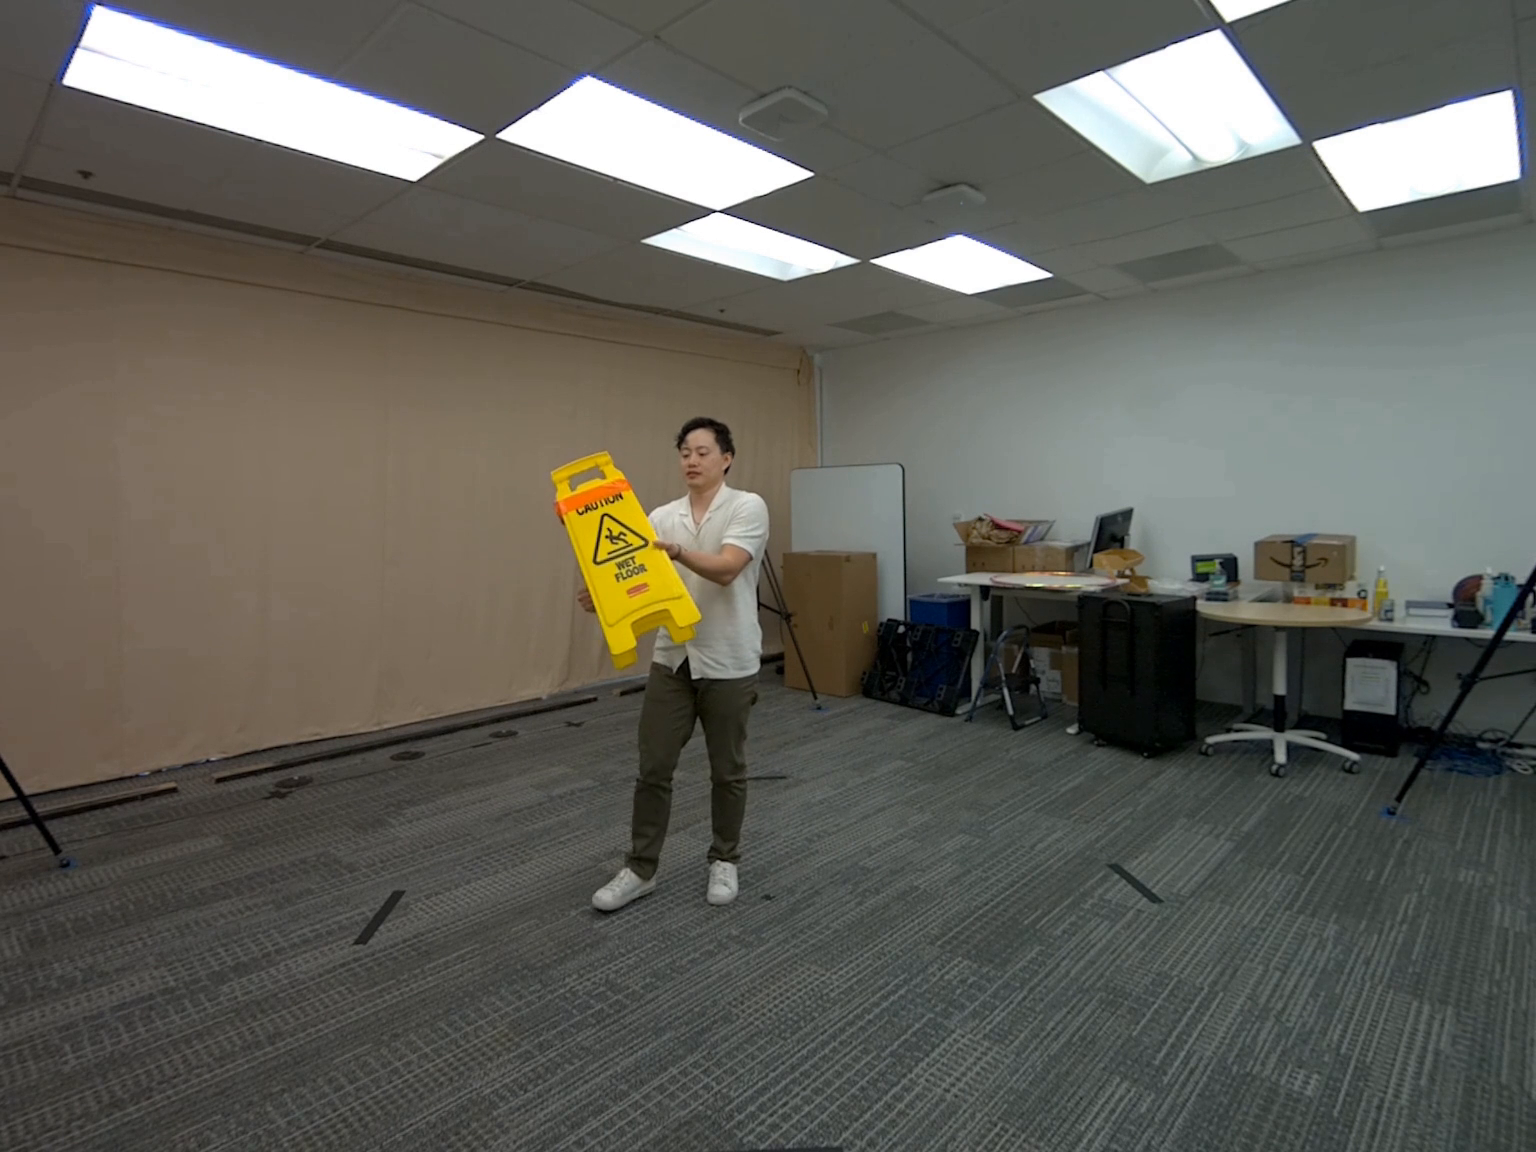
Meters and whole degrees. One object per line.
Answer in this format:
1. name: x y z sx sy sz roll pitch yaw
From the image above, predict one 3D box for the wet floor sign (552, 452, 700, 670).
1. wet floor sign: -0.476 -0.079 2.606 0.280 0.654 0.288 -23 -12 -12
